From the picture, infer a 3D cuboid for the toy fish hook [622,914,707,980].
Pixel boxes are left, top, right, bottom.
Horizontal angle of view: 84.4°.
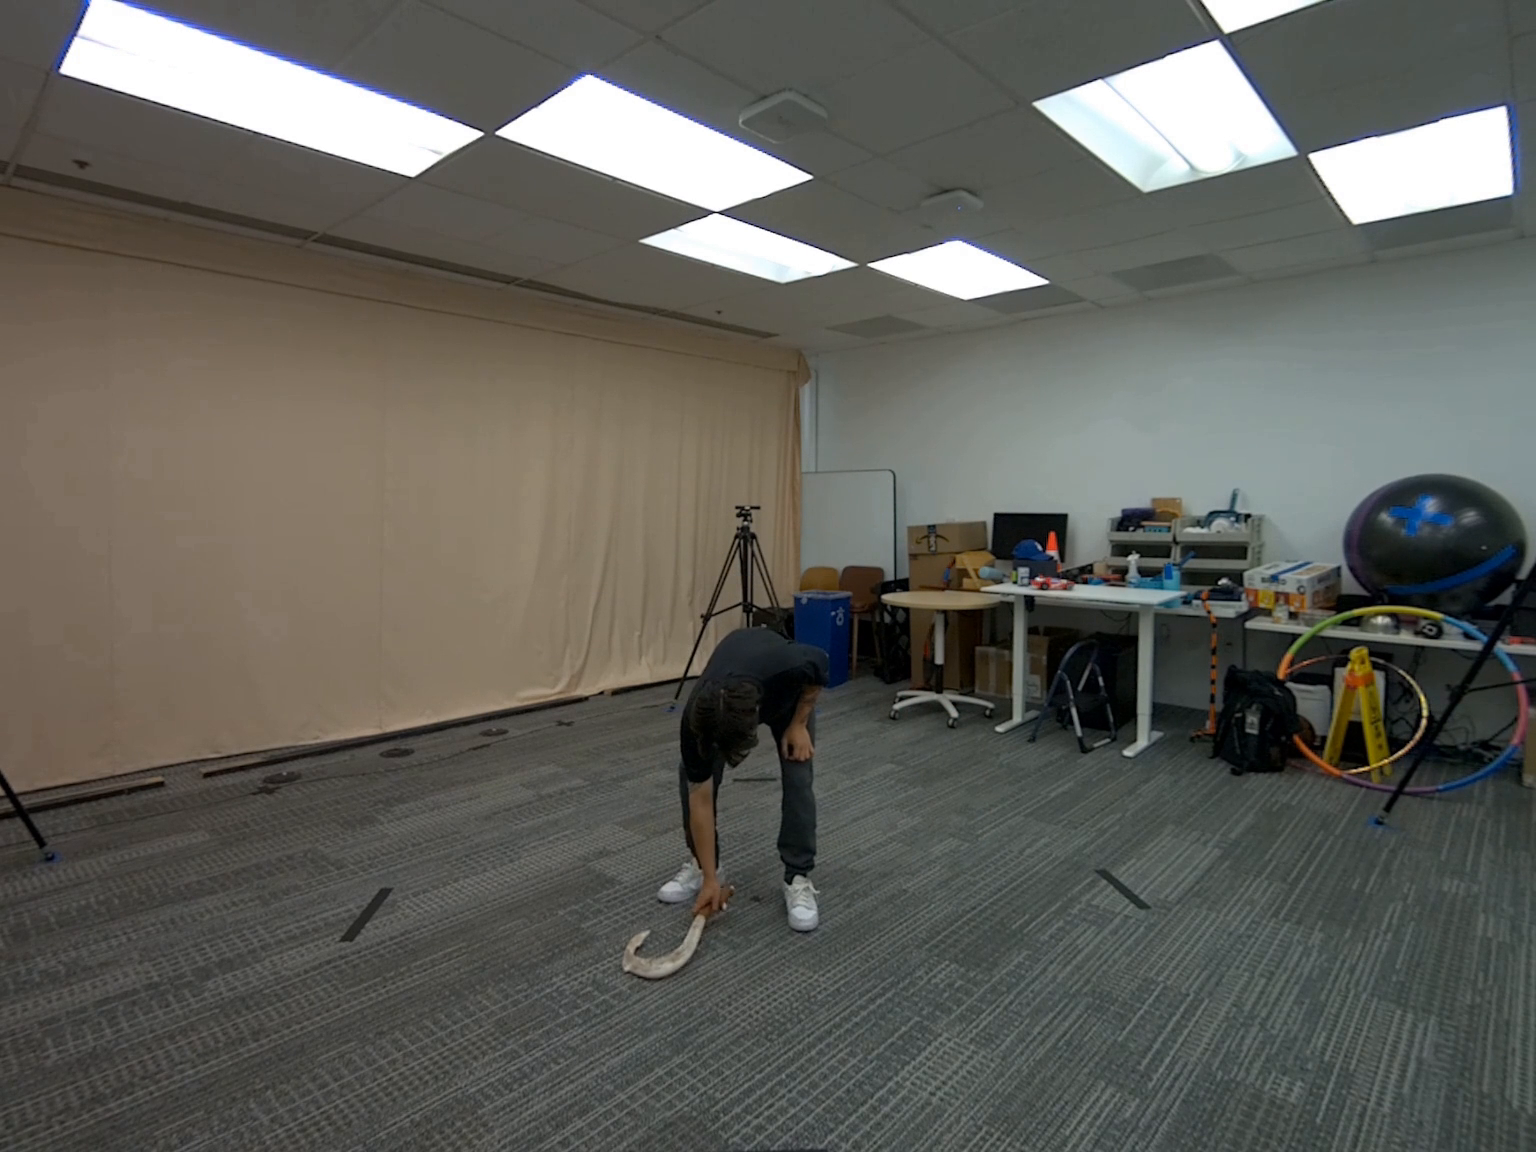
[{"bbox_3d":[-0.282,1.119,2.700,0.231,0.048,0.496,3,11,27],"label":"toy fish hook"}]
